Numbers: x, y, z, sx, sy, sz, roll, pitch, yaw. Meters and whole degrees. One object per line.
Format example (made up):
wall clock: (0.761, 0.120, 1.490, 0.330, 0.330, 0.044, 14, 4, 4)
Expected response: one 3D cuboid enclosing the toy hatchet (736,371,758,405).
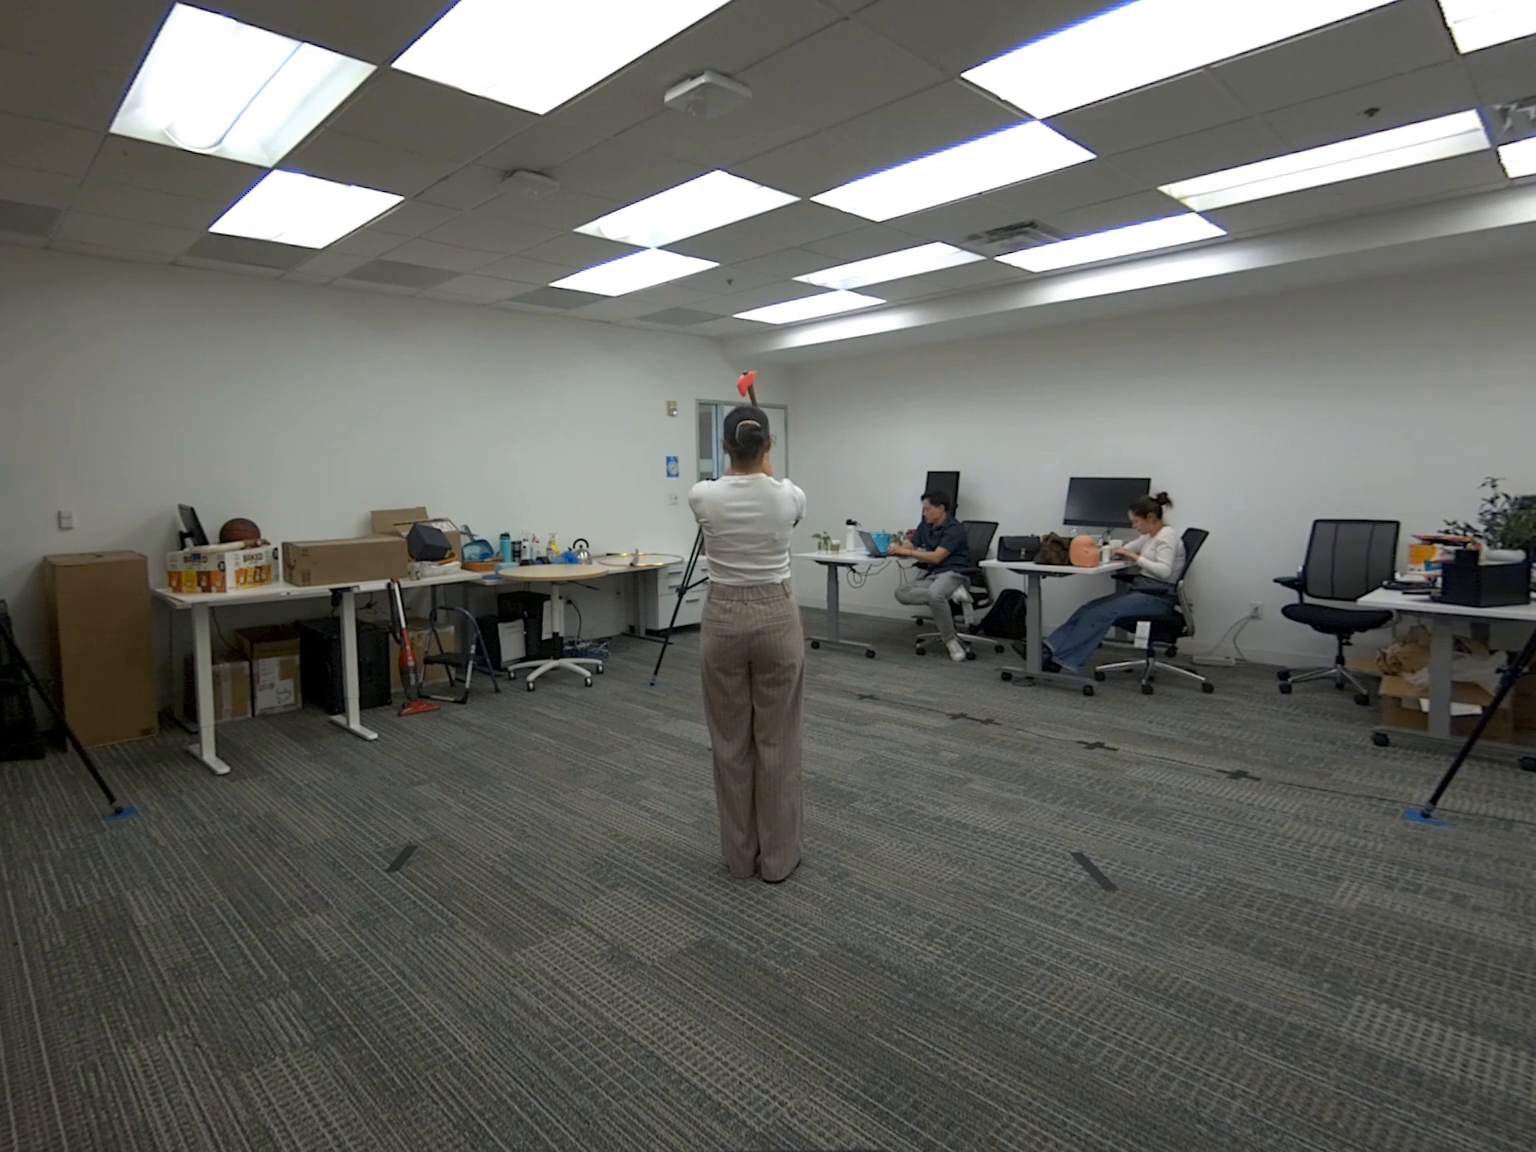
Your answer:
toy hatchet: (-0.065, -0.645, 3.252, 0.030, 0.267, 0.129, 4, 14, 32)
